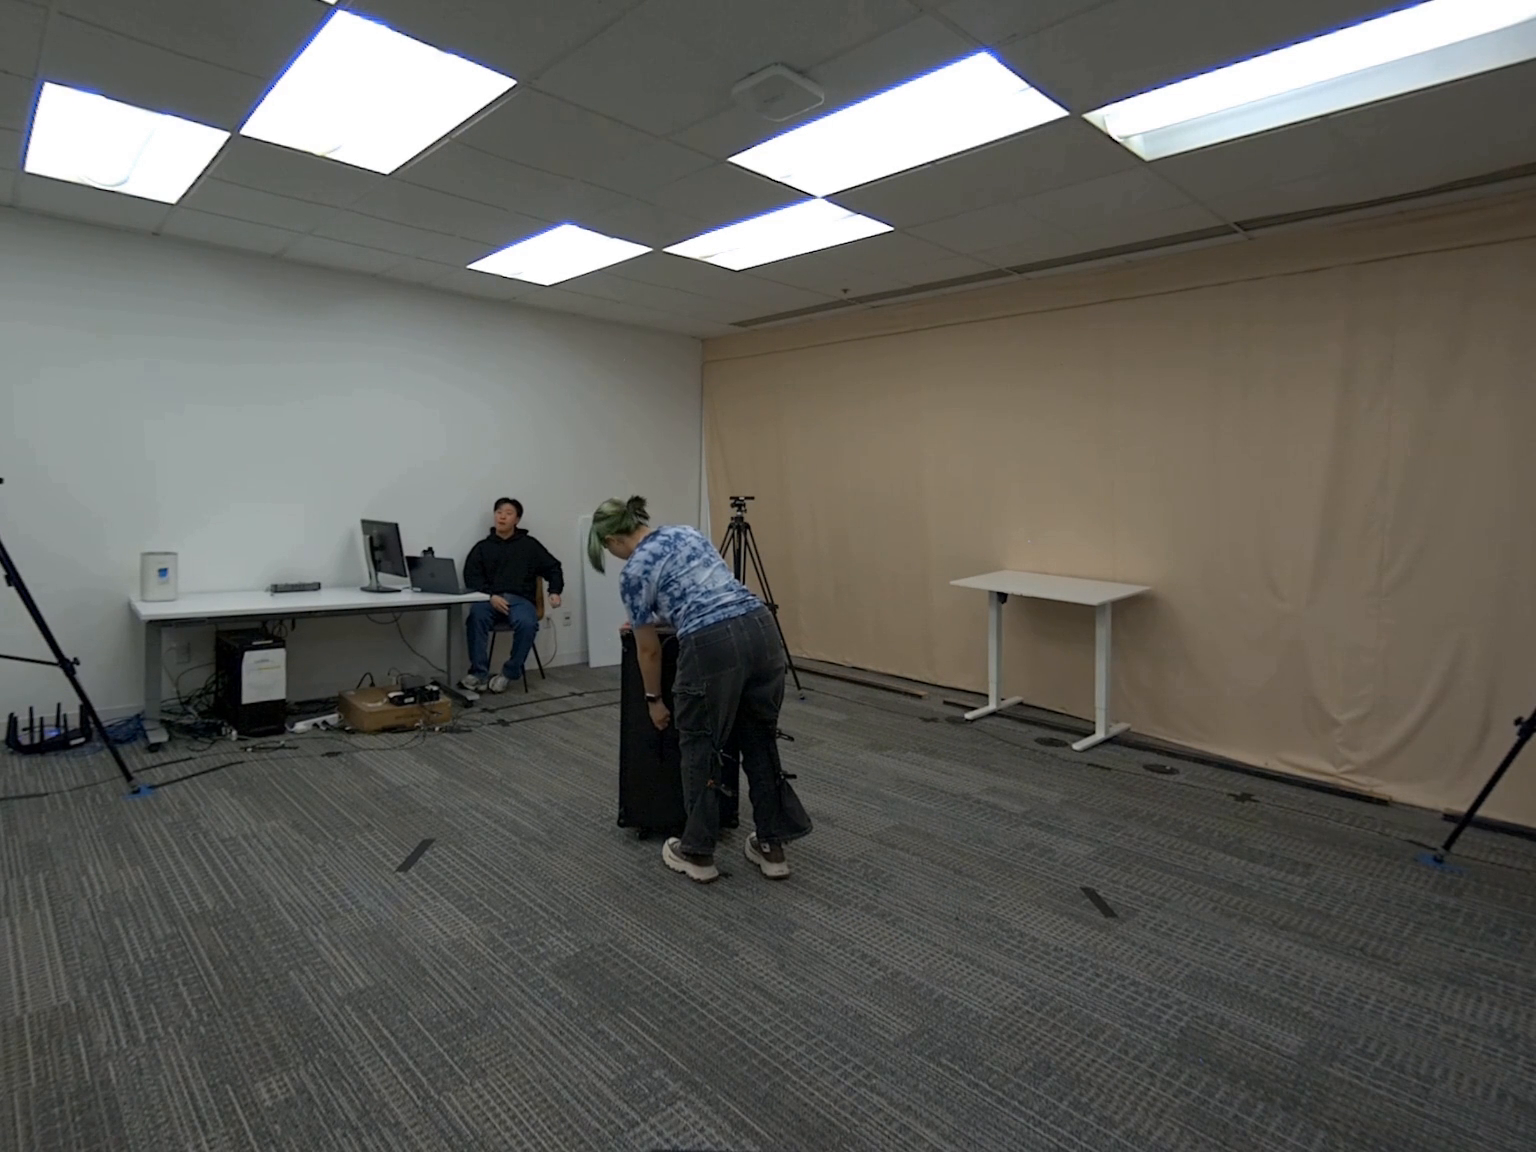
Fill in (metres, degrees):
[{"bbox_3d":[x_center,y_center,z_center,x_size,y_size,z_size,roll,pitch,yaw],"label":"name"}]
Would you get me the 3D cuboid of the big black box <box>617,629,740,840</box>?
[{"bbox_3d":[-0.369,0.645,3.515,0.519,0.859,0.398,2,4,-4],"label":"big black box"}]
